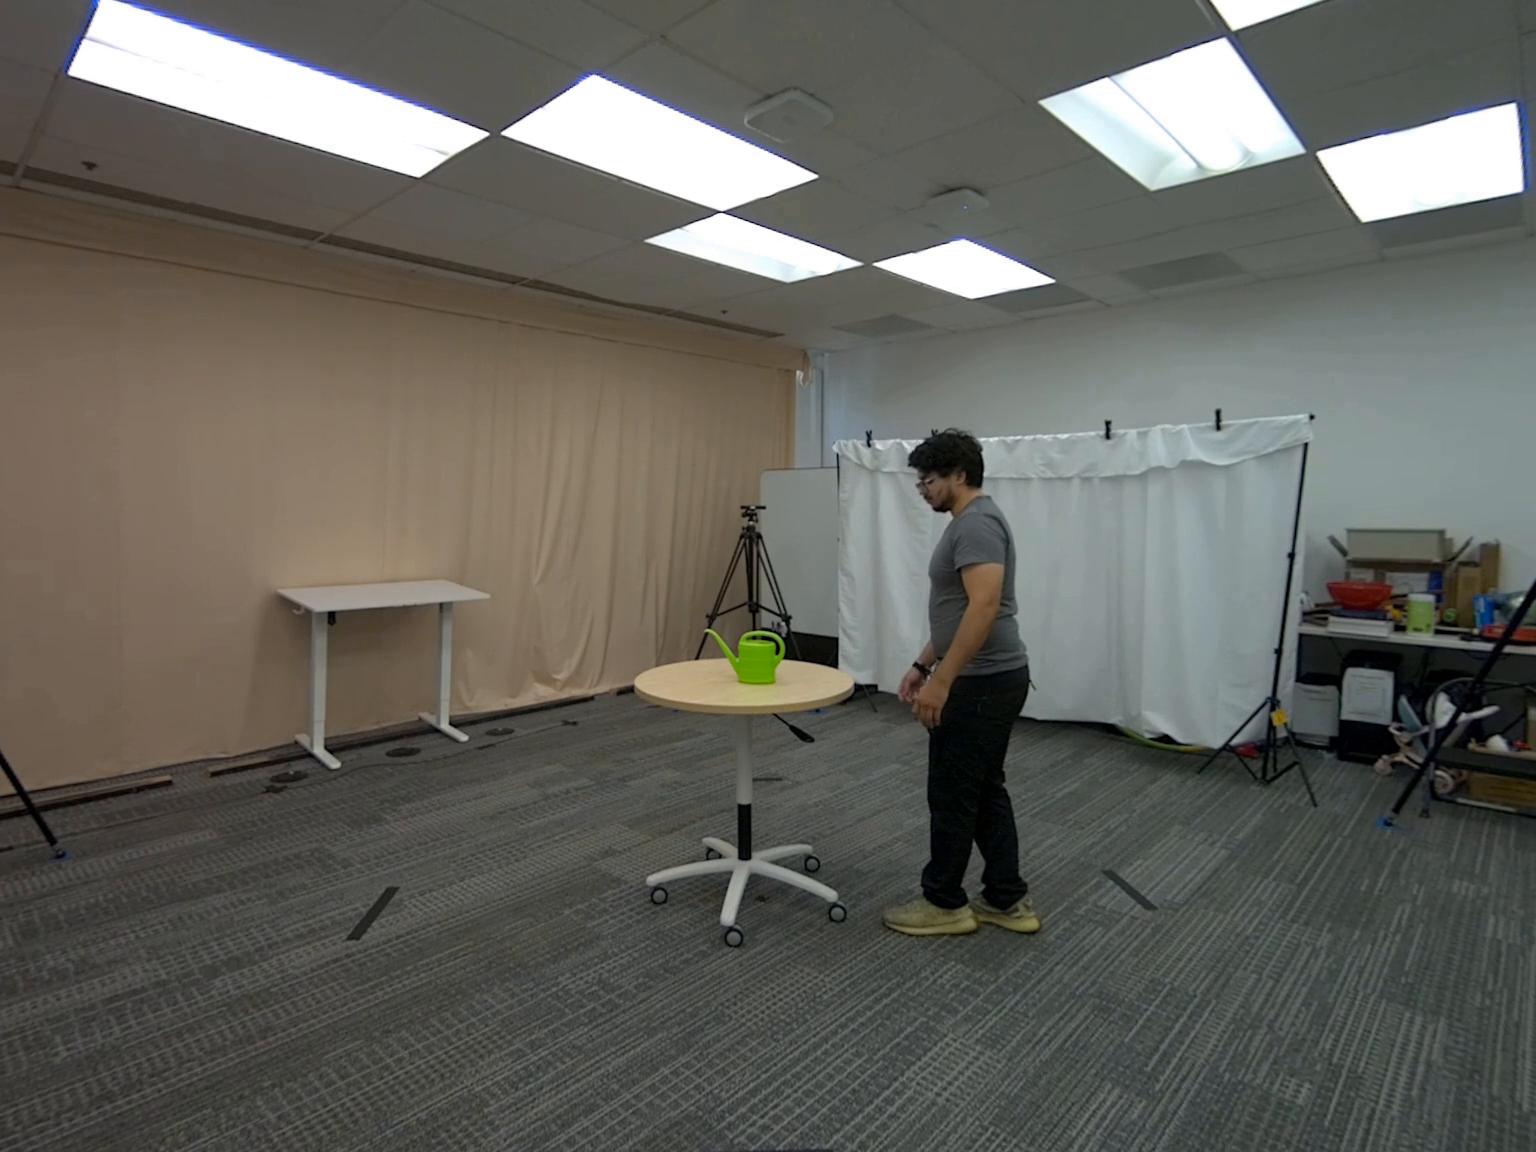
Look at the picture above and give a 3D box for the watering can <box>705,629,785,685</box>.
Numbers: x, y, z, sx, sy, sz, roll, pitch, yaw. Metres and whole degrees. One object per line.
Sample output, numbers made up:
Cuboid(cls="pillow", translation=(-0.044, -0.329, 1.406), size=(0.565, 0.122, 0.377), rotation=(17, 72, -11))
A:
Cuboid(cls="watering can", translation=(-0.074, 0.278, 2.922), size=(0.284, 0.176, 0.096), rotation=(3, 5, 20))
